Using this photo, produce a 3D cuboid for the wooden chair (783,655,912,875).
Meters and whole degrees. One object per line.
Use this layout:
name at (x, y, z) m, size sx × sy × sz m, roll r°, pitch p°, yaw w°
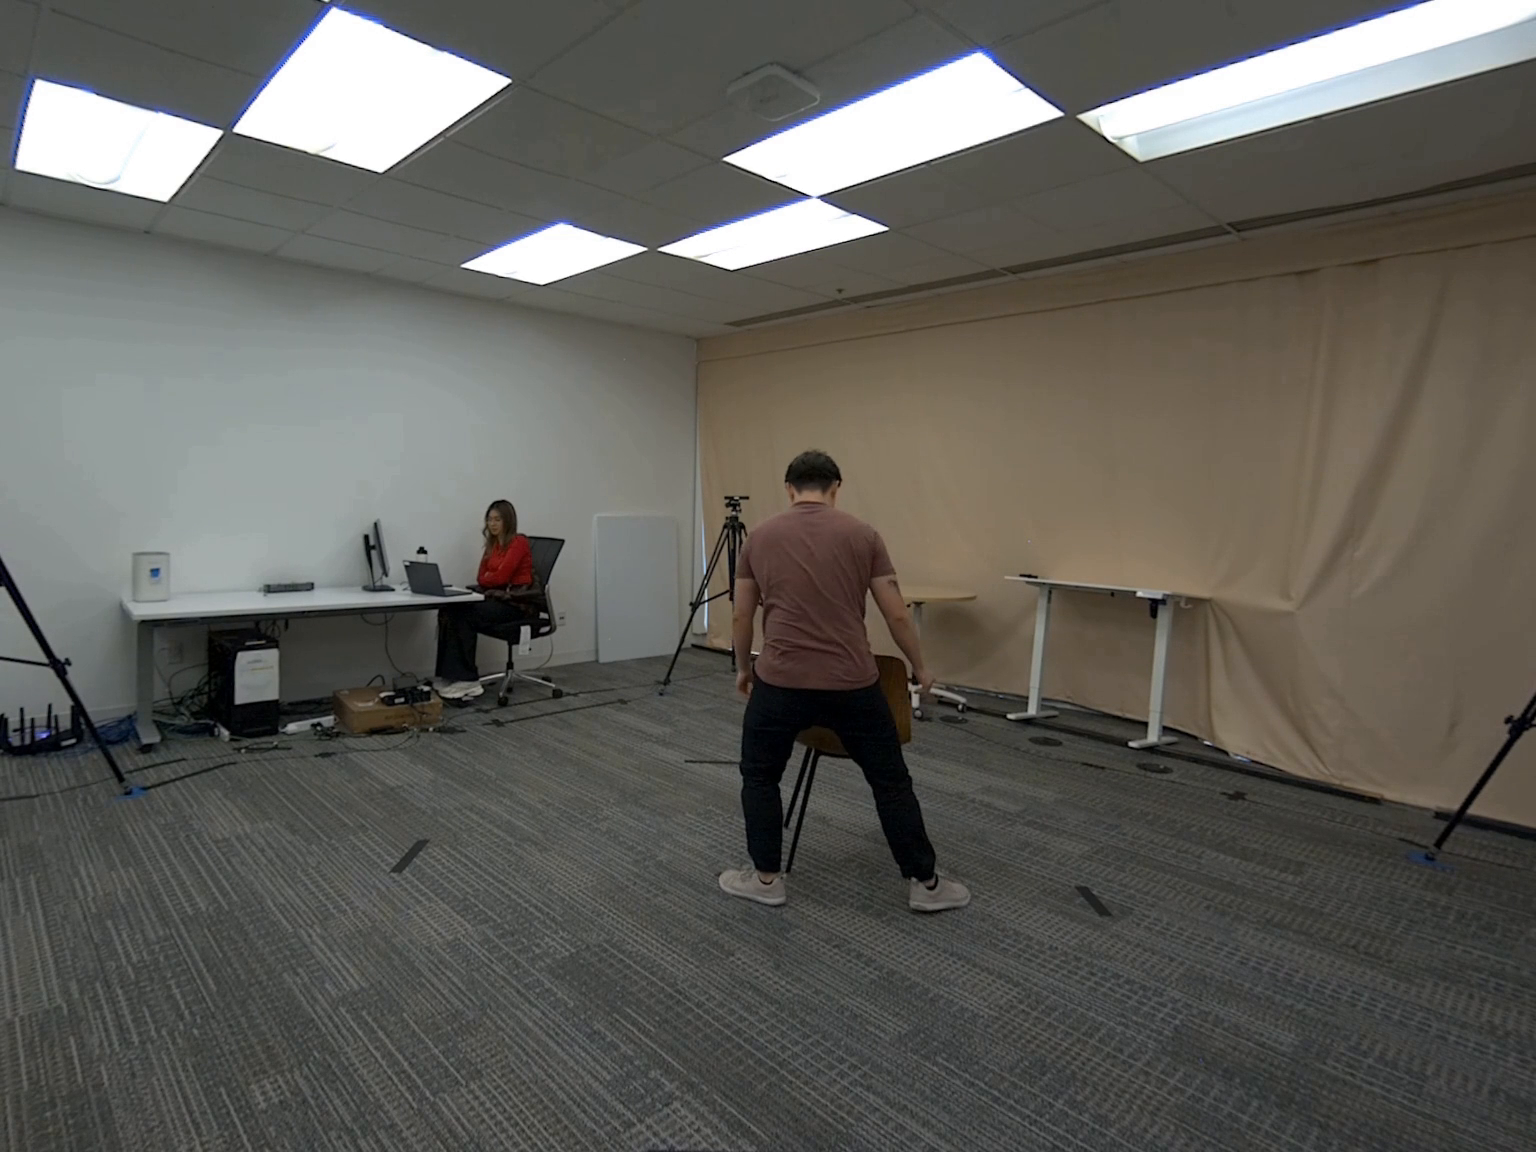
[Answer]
wooden chair at (0.291, 0.668, 3.327) m, size 0.479 × 0.873 × 0.524 m, roll 1°, pitch 7°, yaw 2°
